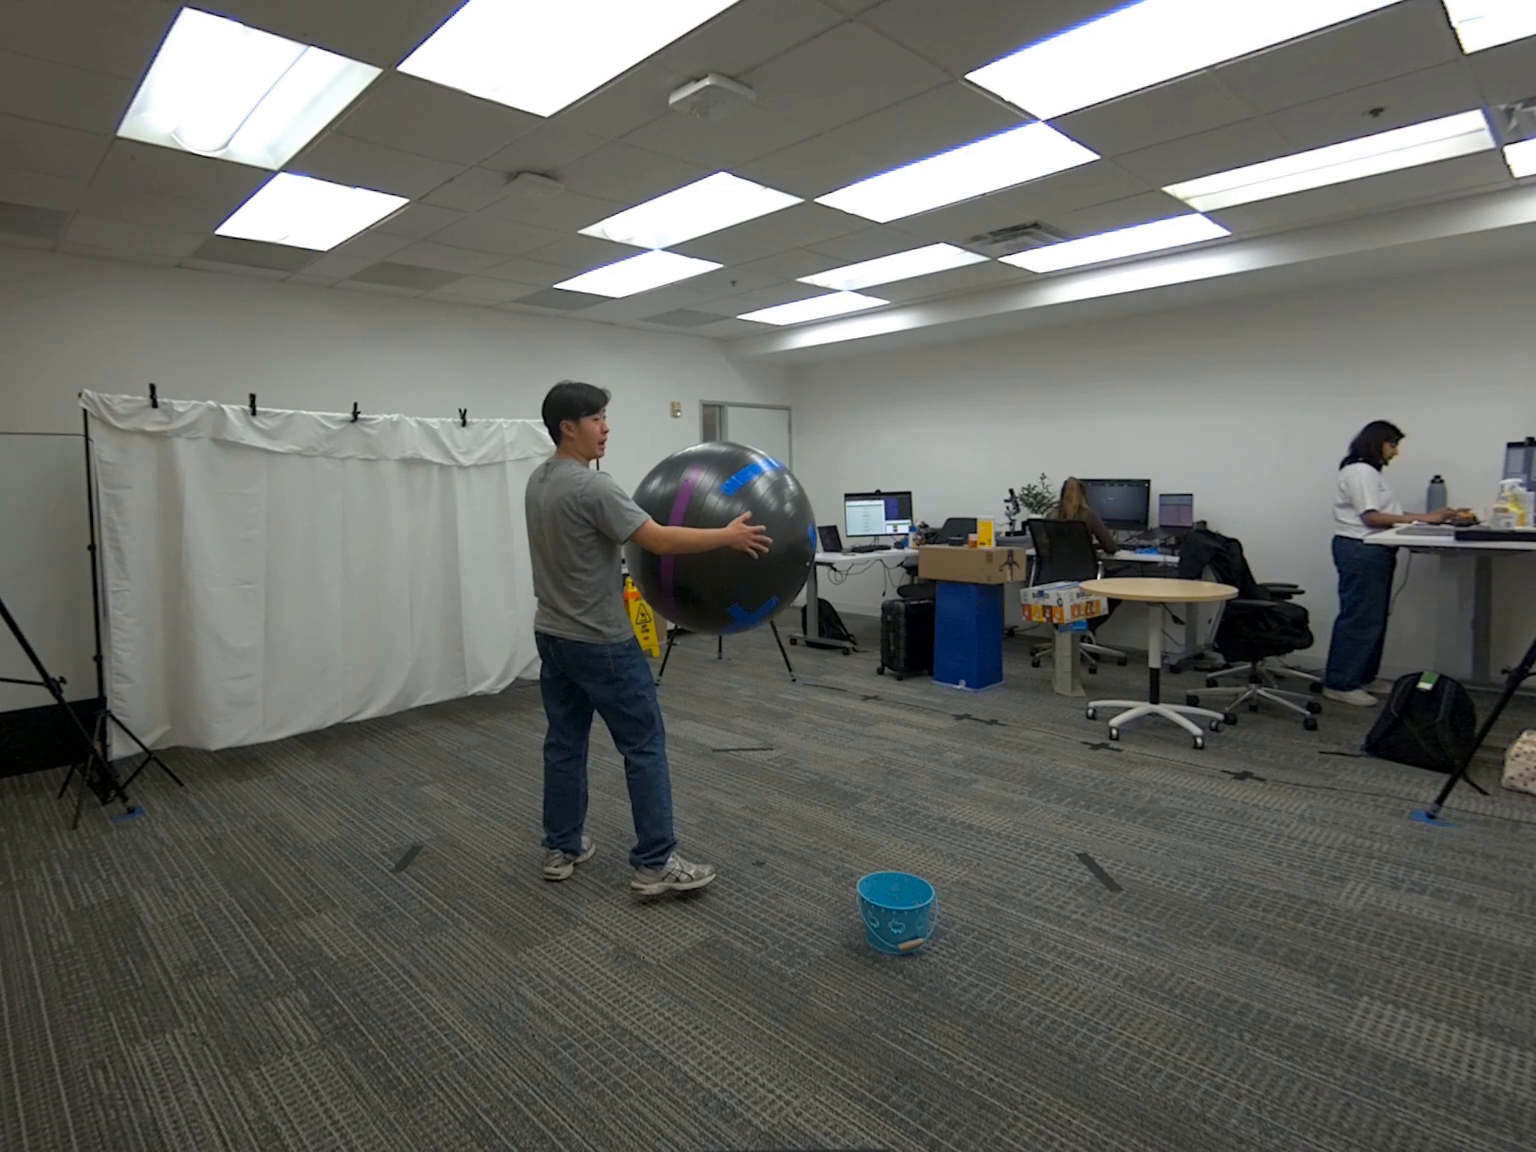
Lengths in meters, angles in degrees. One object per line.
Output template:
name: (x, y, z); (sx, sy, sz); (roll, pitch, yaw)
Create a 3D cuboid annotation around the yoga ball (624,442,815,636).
yoga ball: (-0.189, -0.142, 3.357); (0.757, 0.755, 0.762); (-1, 5, -2)
